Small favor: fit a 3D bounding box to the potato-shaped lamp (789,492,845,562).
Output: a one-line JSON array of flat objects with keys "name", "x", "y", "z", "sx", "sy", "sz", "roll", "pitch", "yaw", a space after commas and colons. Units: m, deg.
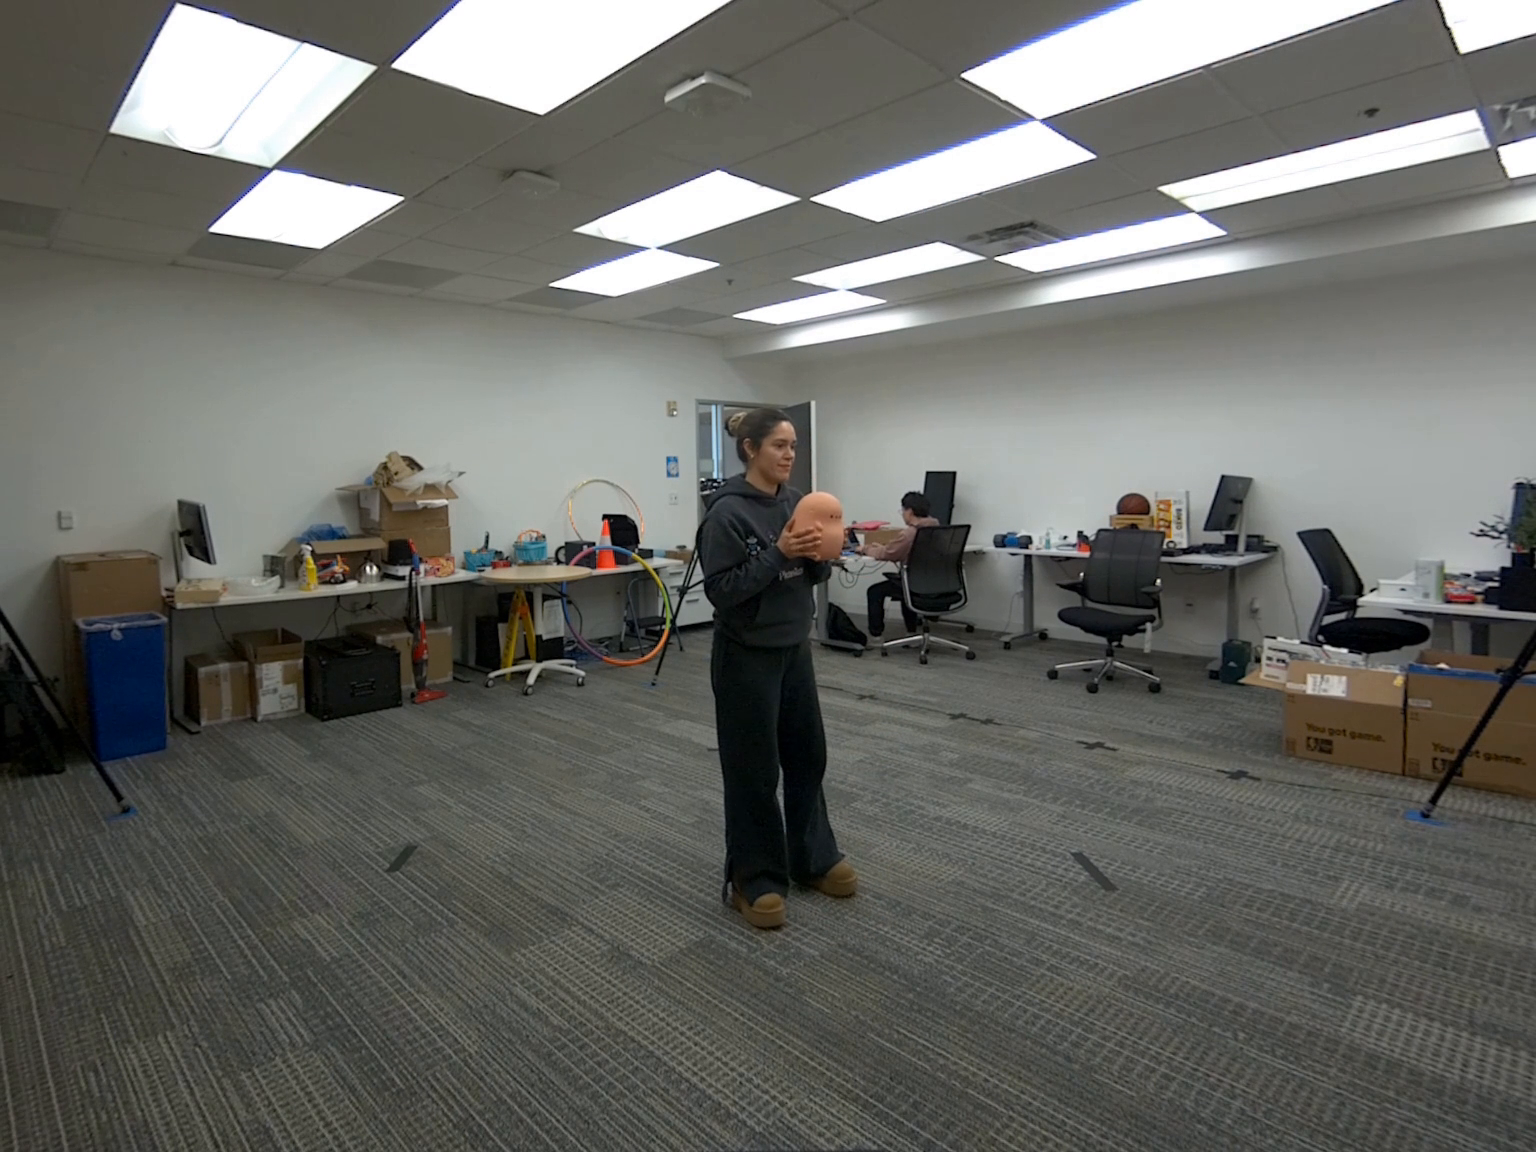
[{"name": "potato-shaped lamp", "x": 0.146, "y": -0.153, "z": 2.592, "sx": 0.160, "sy": 0.196, "sz": 0.178, "roll": 1, "pitch": 17, "yaw": -44}]
